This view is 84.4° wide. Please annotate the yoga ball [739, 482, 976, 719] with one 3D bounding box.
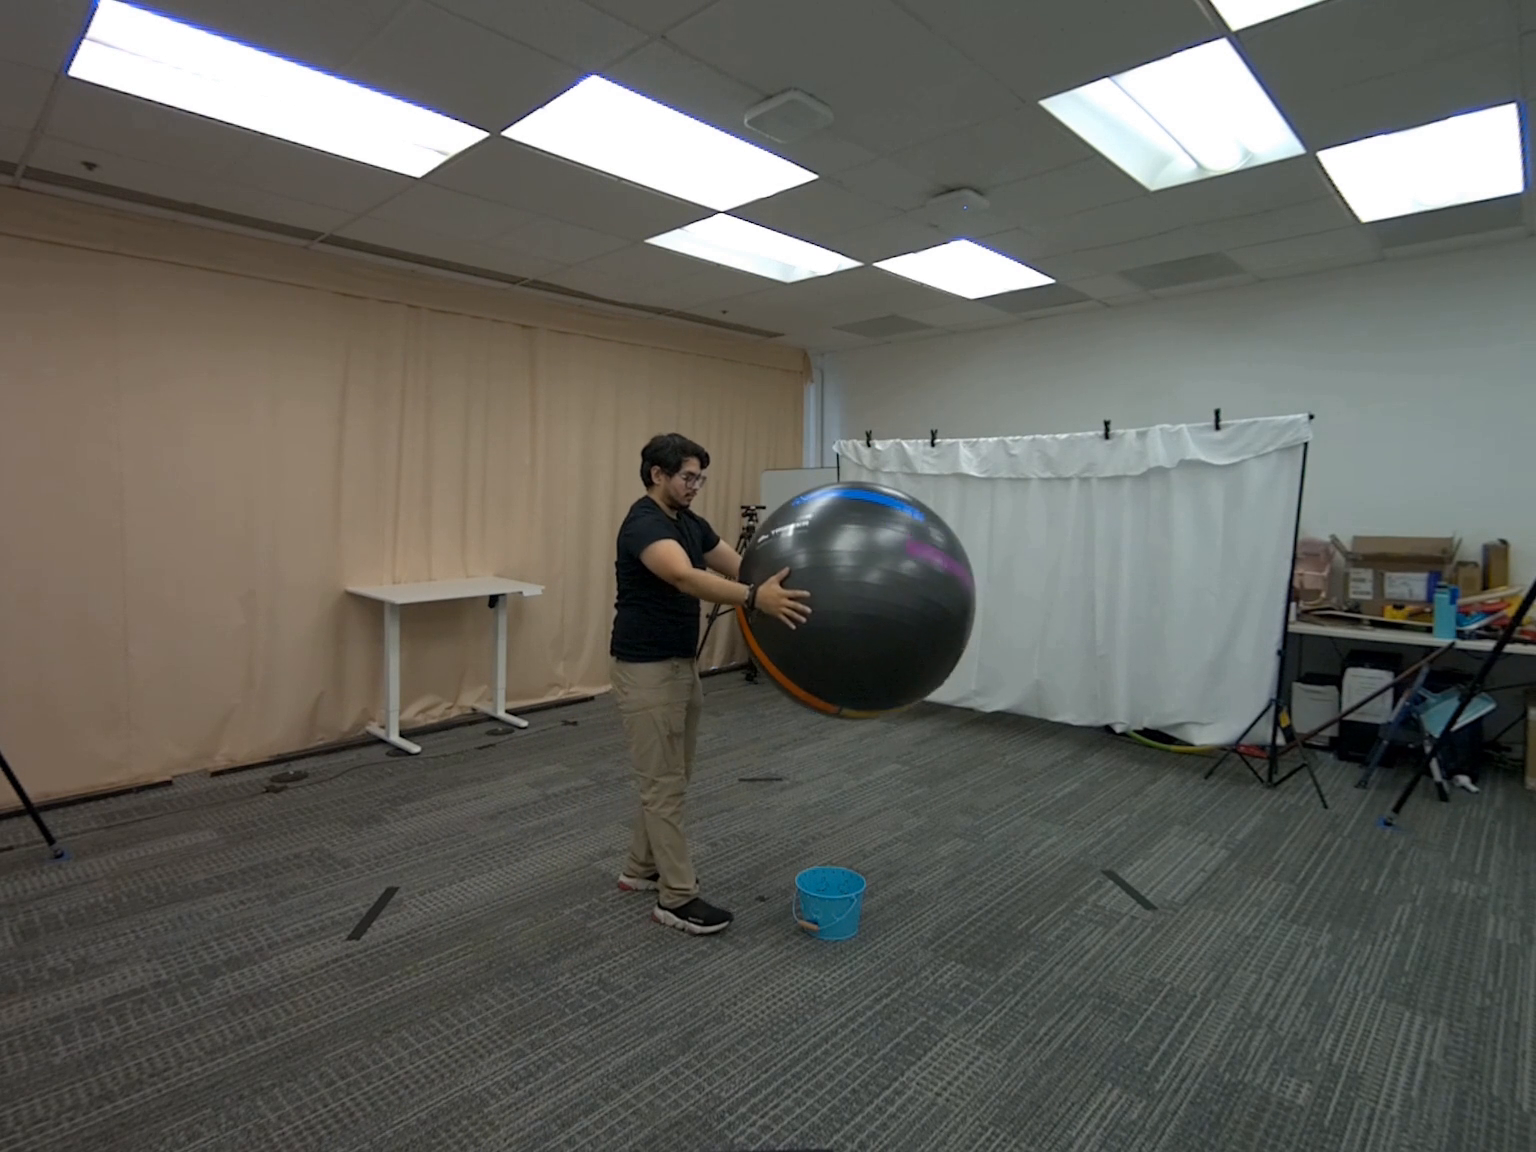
[{"bbox_3d":[0.281,0.077,2.707,0.757,0.756,0.761,0,4,-2],"label":"yoga ball"}]
